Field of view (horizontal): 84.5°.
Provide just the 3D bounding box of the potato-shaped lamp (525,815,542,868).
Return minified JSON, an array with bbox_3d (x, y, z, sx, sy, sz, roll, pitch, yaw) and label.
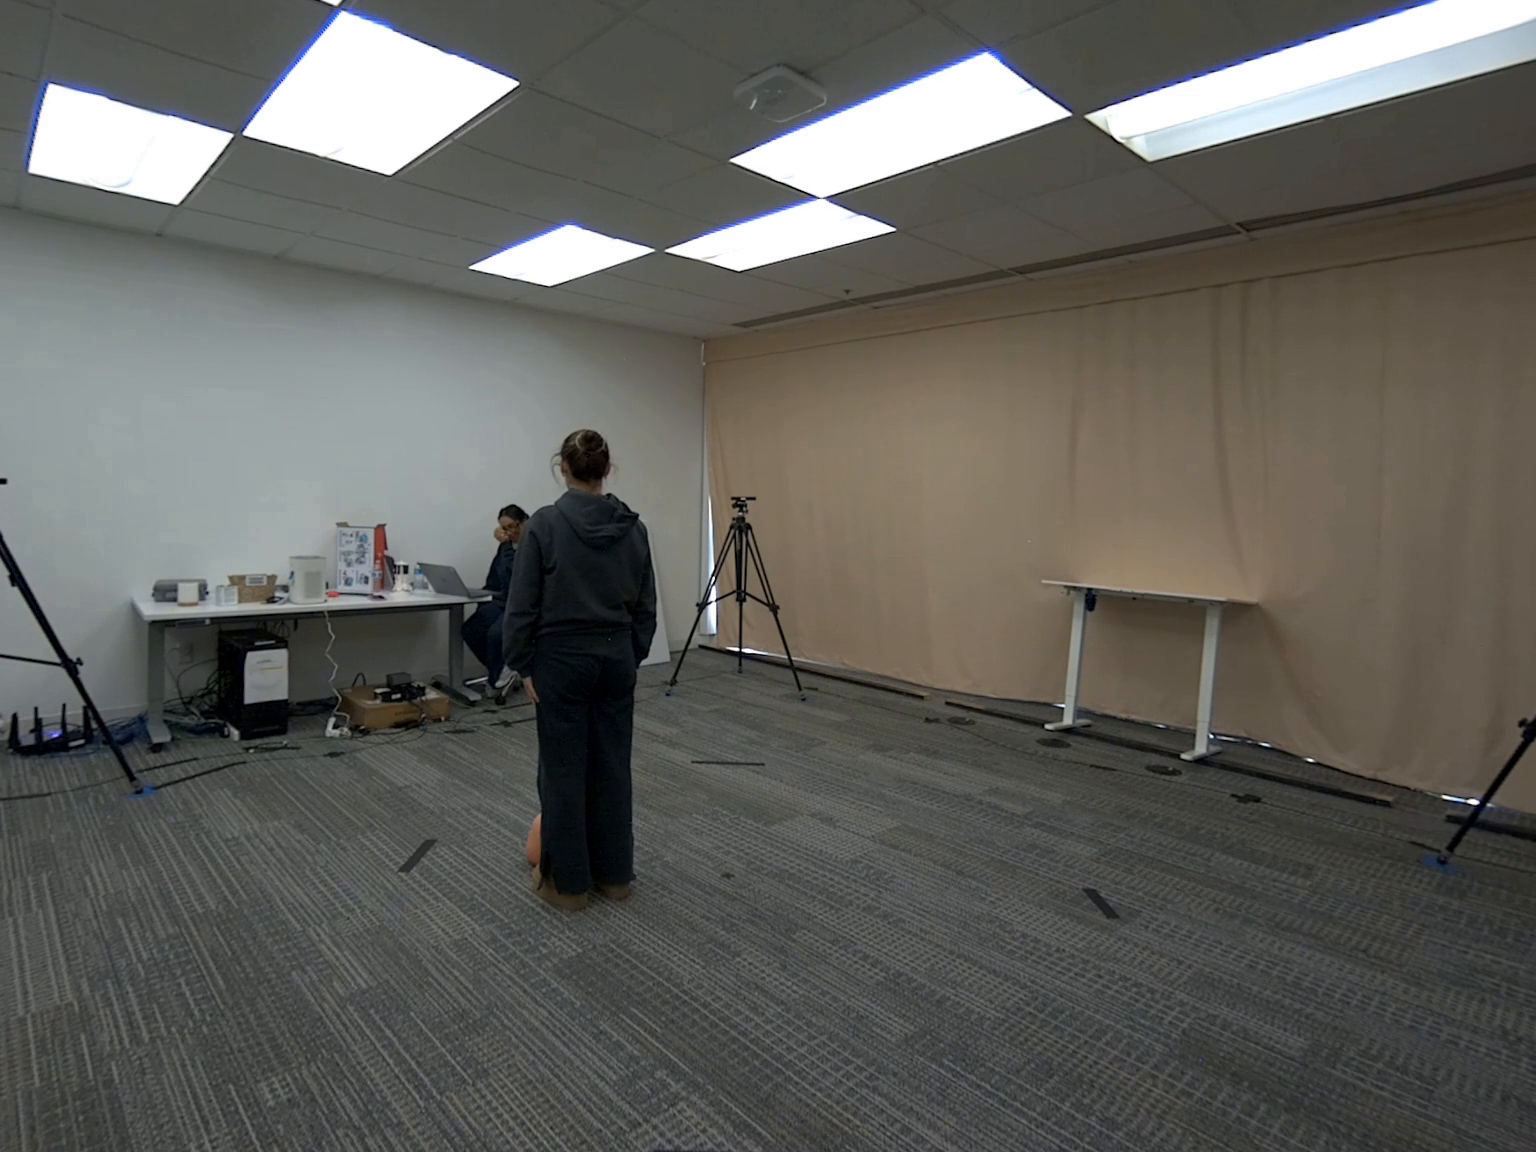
[{"bbox_3d":[-0.833,1.004,3.188,0.170,0.197,0.166,31,9,39],"label":"potato-shaped lamp"}]
